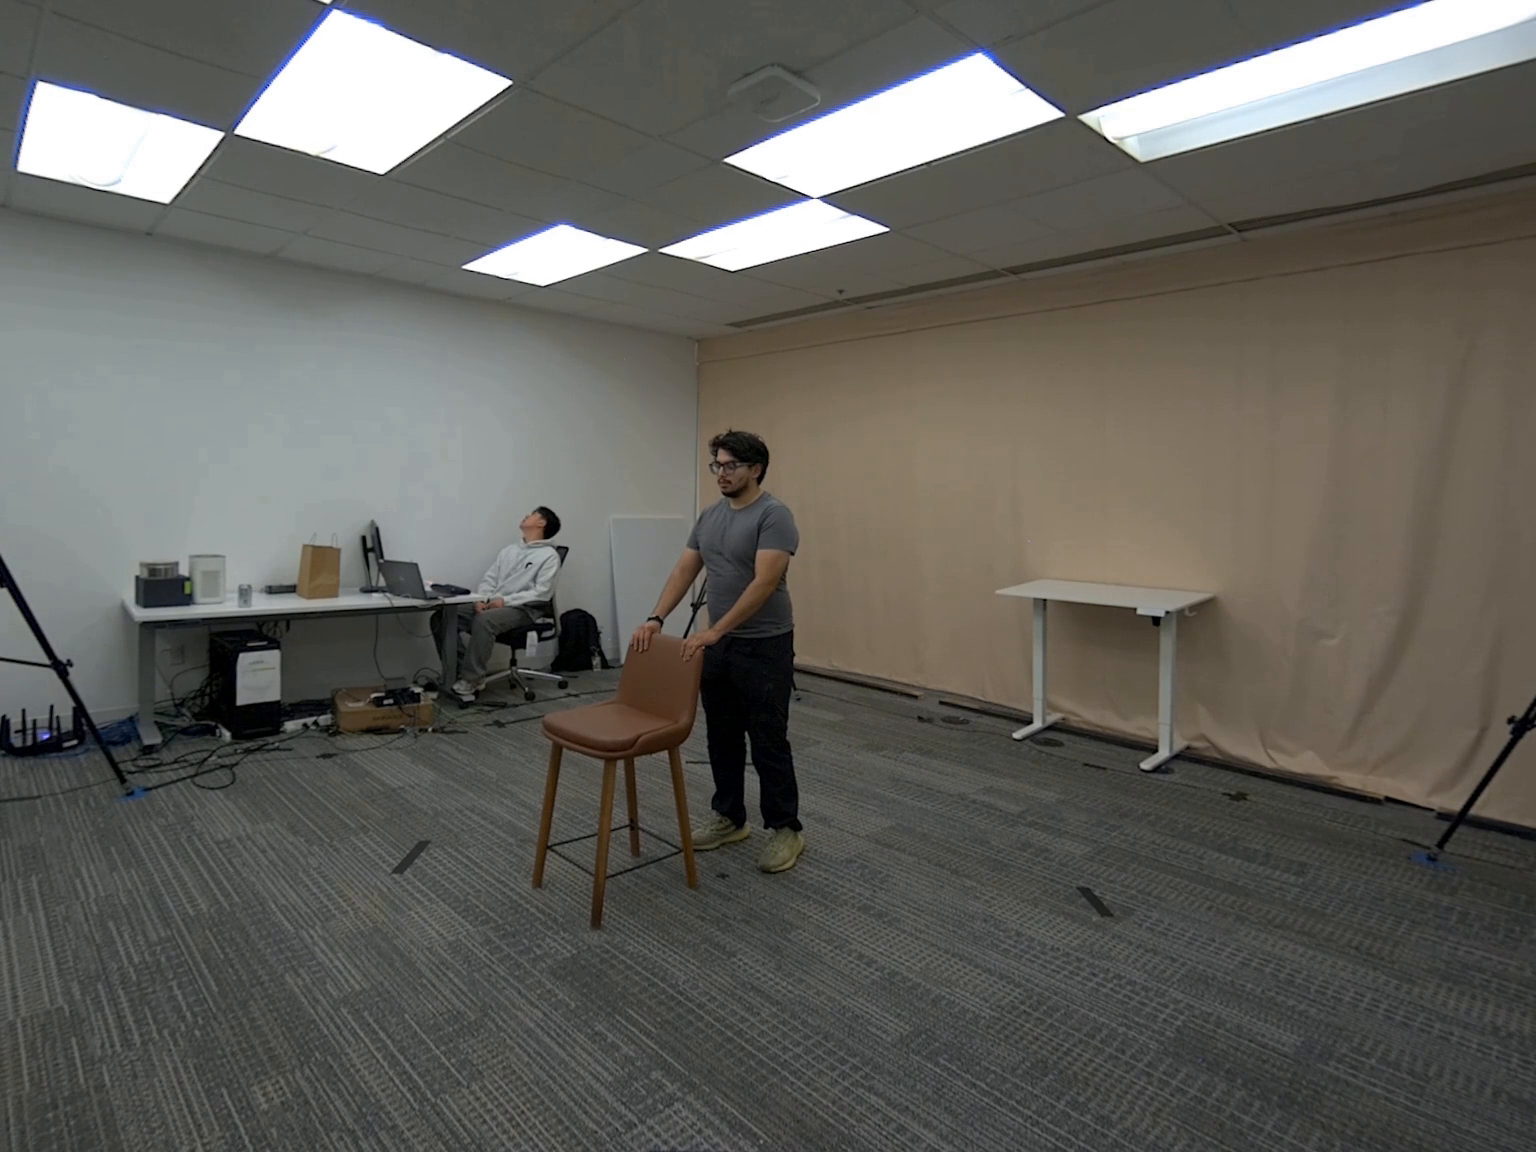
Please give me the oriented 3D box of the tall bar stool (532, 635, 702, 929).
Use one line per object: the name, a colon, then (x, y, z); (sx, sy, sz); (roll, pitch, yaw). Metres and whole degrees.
tall bar stool: (-0.526, 0.673, 2.973); (0.456, 0.888, 0.468); (1, 3, -44)
